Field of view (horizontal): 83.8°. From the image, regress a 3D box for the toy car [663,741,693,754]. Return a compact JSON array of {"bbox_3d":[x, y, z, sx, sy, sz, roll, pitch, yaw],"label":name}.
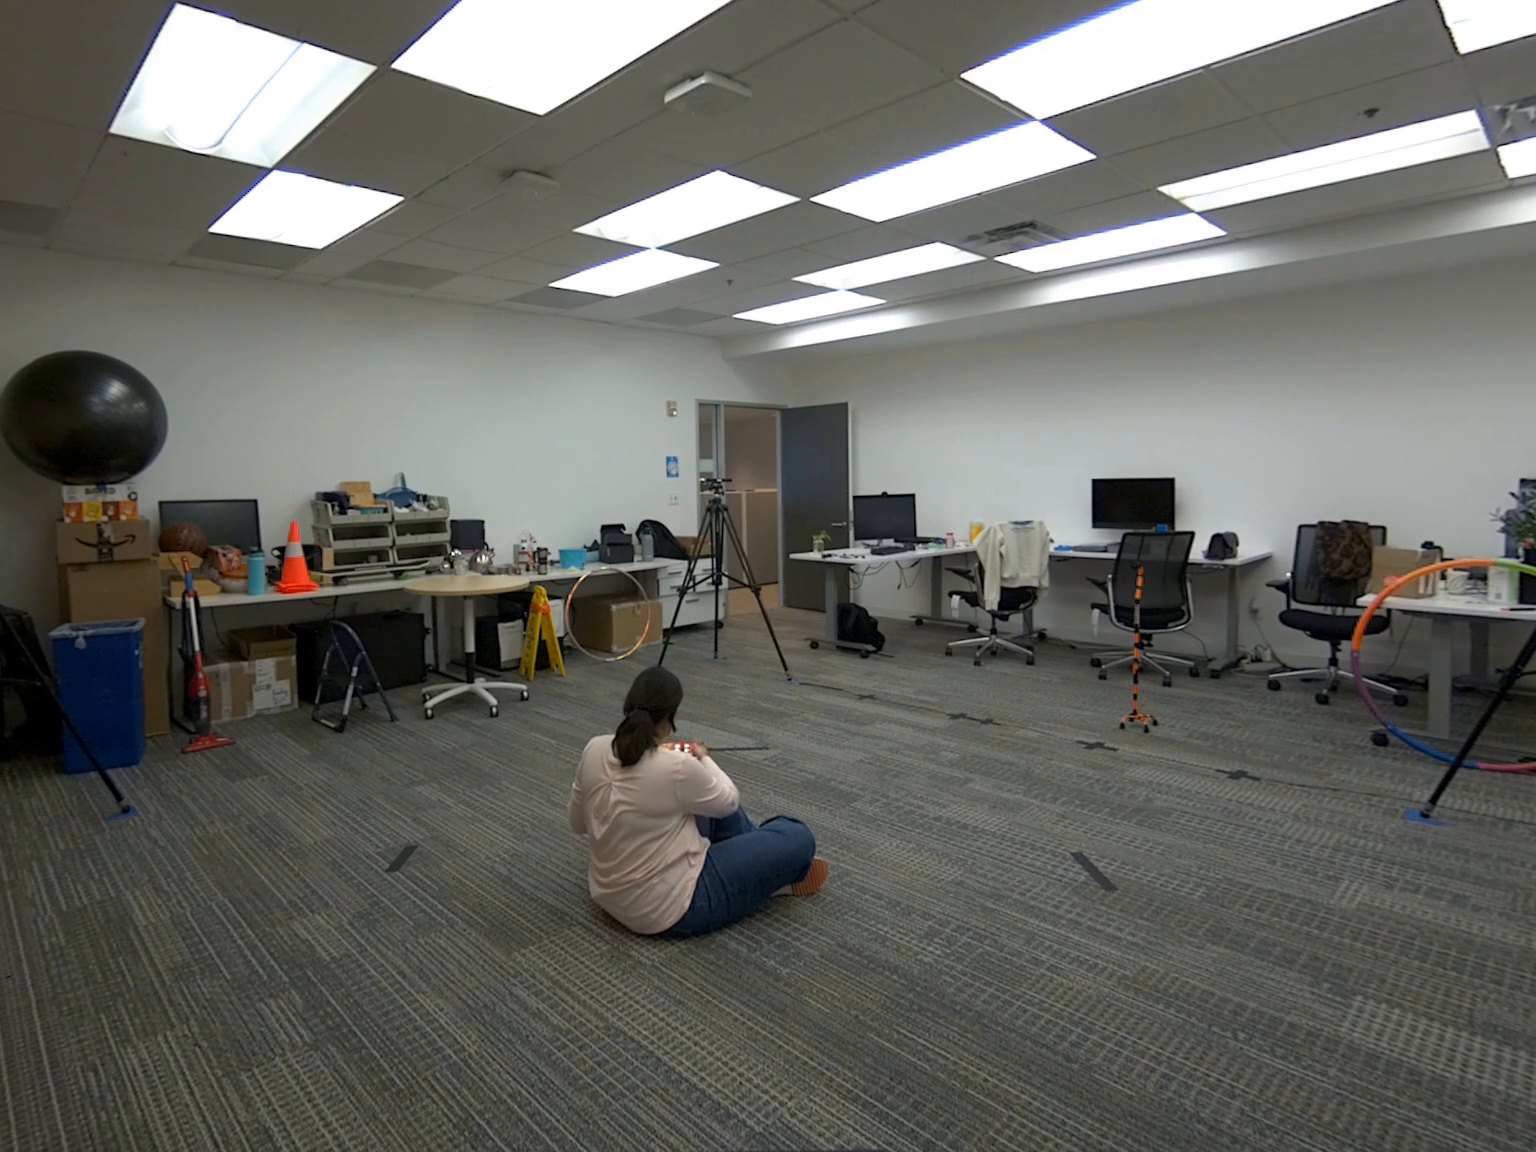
[{"bbox_3d":[-0.370,0.679,3.205,0.255,0.081,0.133,-15,23,2],"label":"toy car"}]
